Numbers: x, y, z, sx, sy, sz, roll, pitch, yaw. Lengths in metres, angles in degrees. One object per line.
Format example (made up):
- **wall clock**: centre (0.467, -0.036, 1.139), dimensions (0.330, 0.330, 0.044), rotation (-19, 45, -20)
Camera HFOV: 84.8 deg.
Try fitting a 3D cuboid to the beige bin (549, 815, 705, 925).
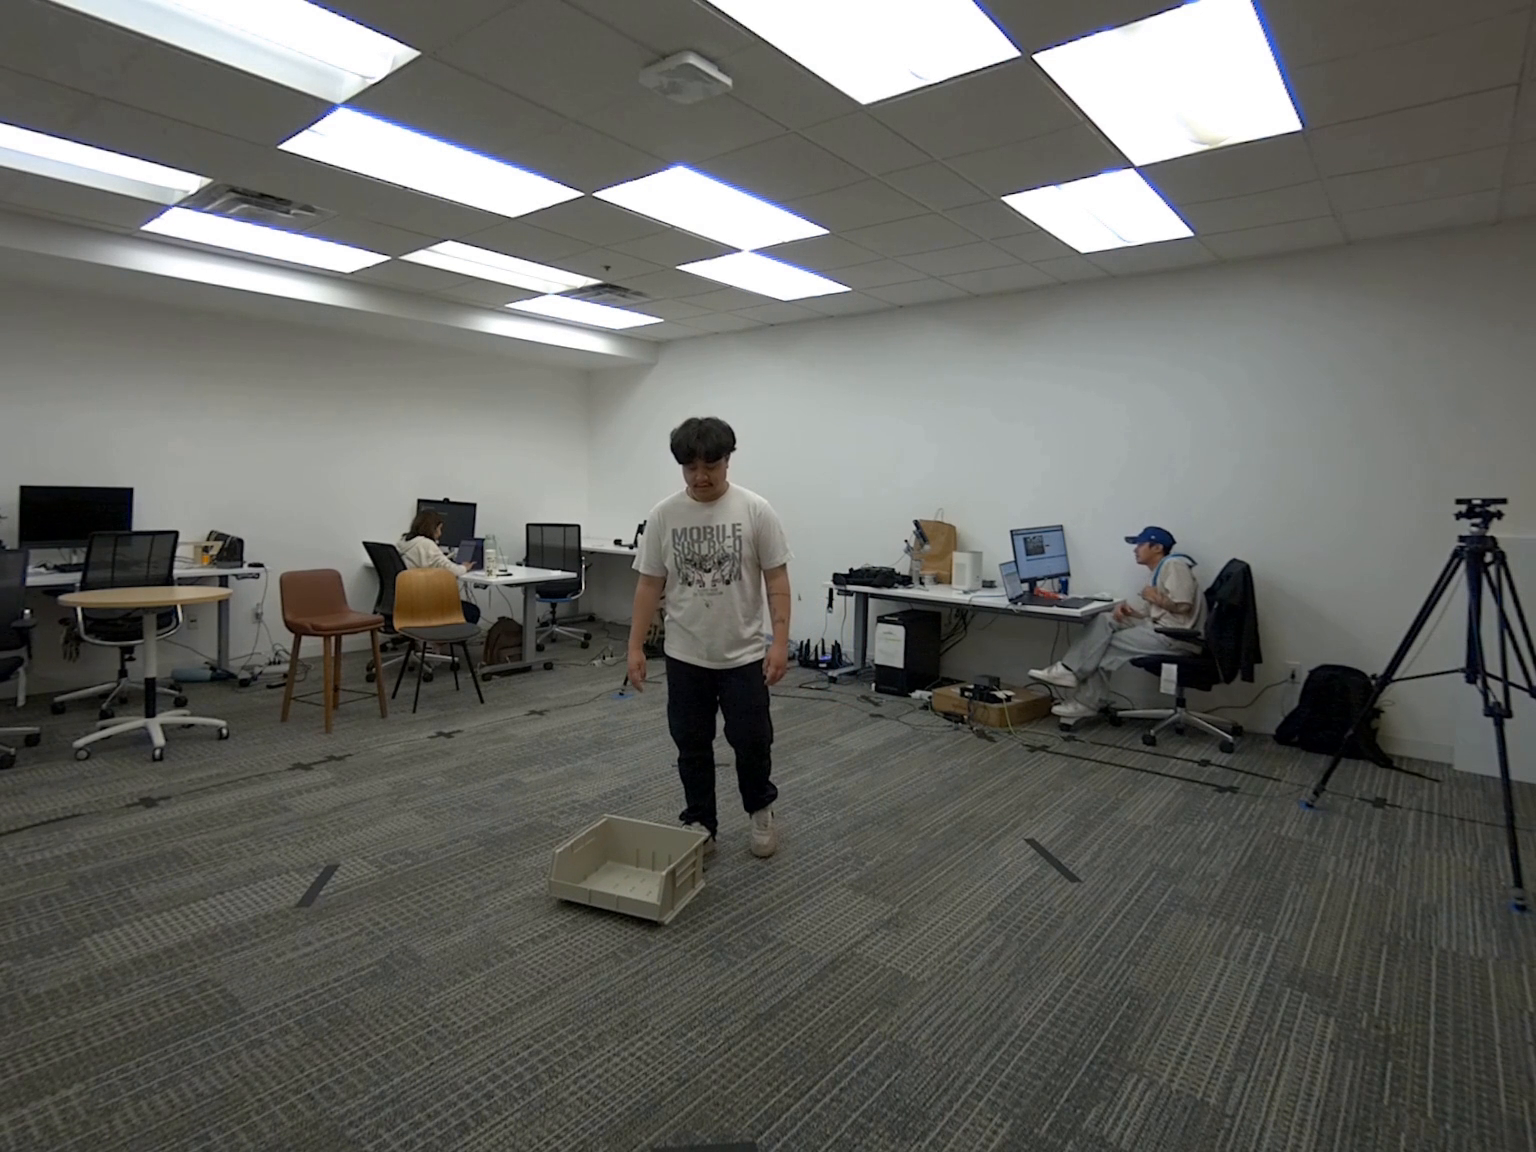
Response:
- **beige bin**: centre (-0.478, 0.996, 2.897), dimensions (0.432, 0.188, 0.370), rotation (2, 4, 21)
